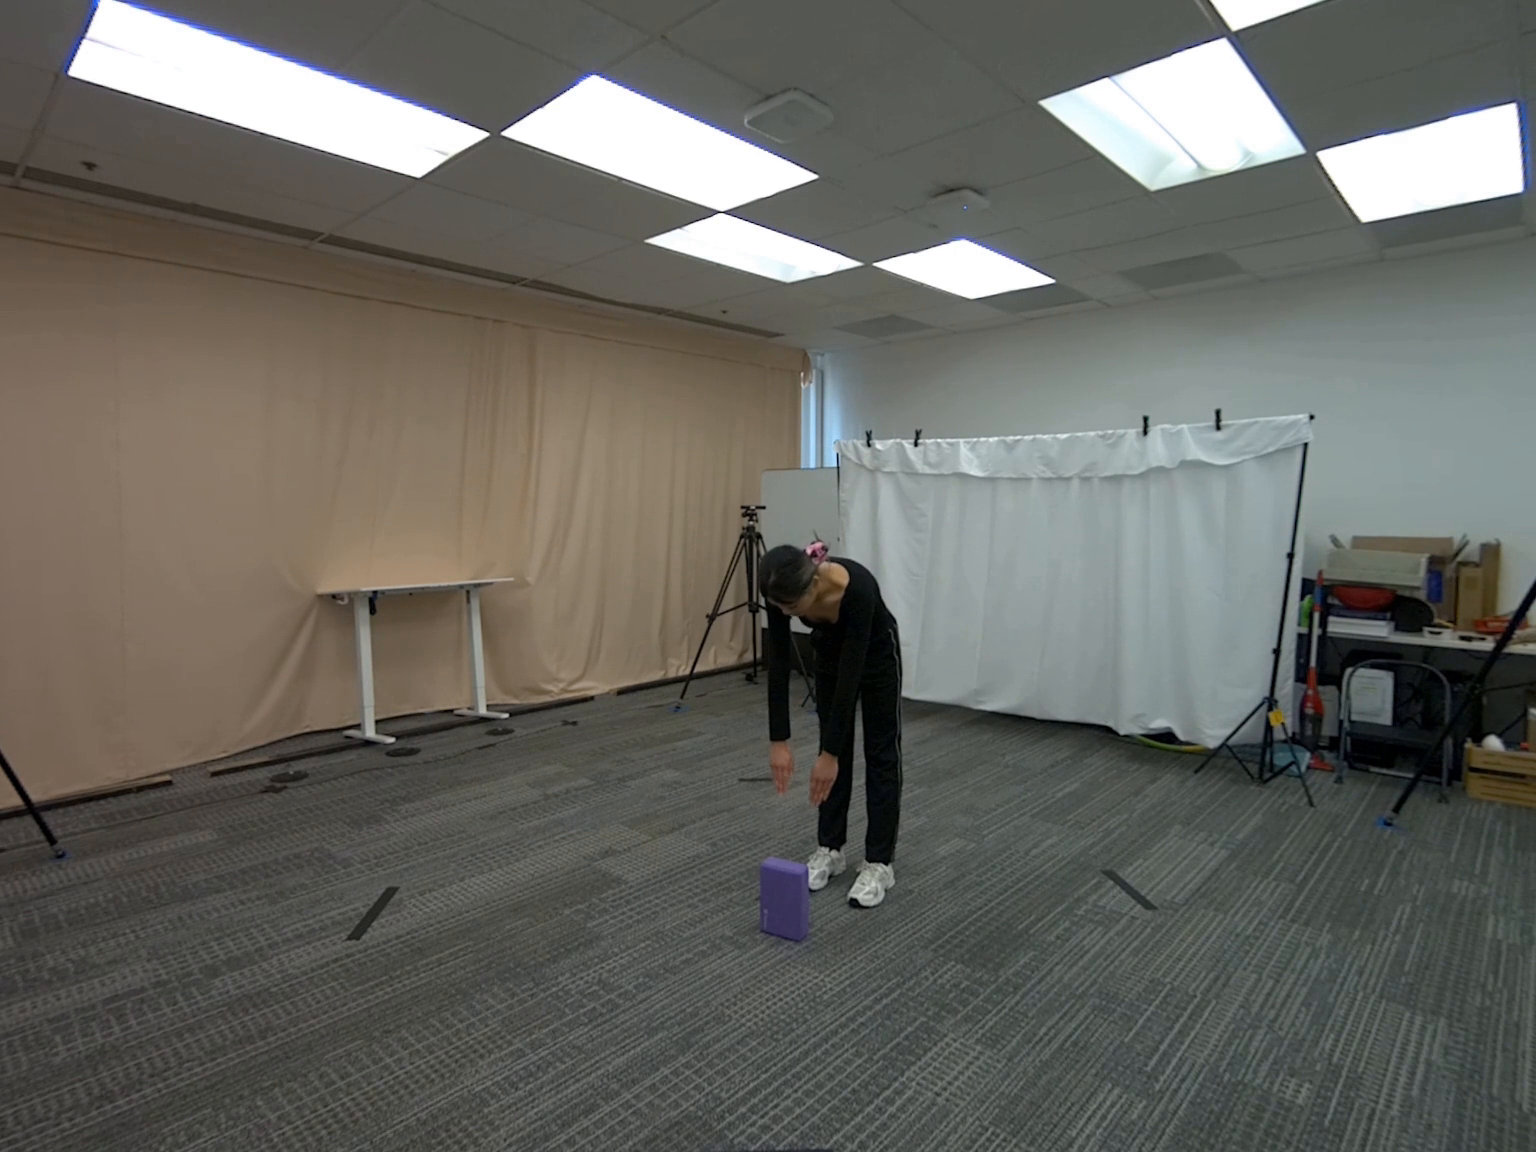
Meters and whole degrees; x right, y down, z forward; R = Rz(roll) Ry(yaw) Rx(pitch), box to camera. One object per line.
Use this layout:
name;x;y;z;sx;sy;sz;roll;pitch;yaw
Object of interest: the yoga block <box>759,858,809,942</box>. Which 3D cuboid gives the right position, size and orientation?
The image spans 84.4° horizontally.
yoga block;0.058;1.049;2.737;0.153;0.229;0.074;2;4;27
